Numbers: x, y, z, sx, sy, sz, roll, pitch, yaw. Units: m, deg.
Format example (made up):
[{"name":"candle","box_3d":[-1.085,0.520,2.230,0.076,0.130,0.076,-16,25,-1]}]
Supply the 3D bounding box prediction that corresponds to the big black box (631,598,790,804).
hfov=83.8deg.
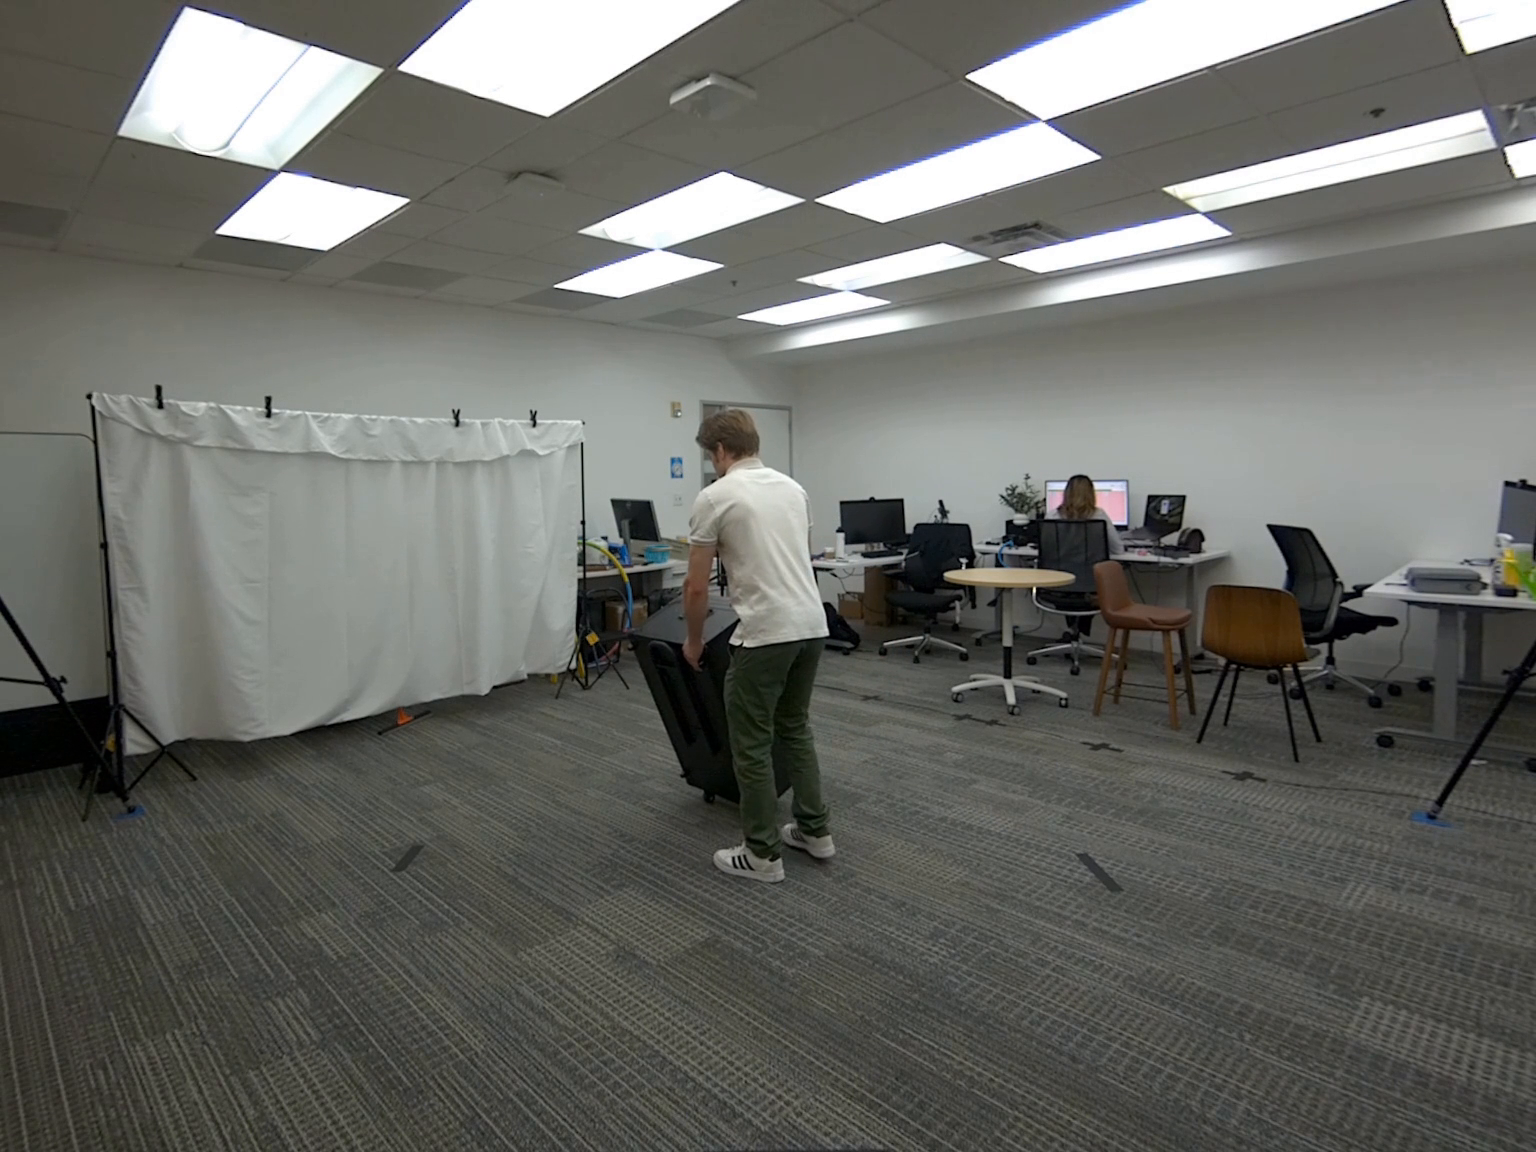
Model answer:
[{"name":"big black box","box_3d":[-0.177,0.546,3.580,0.539,0.851,0.381,2,28,47]}]
